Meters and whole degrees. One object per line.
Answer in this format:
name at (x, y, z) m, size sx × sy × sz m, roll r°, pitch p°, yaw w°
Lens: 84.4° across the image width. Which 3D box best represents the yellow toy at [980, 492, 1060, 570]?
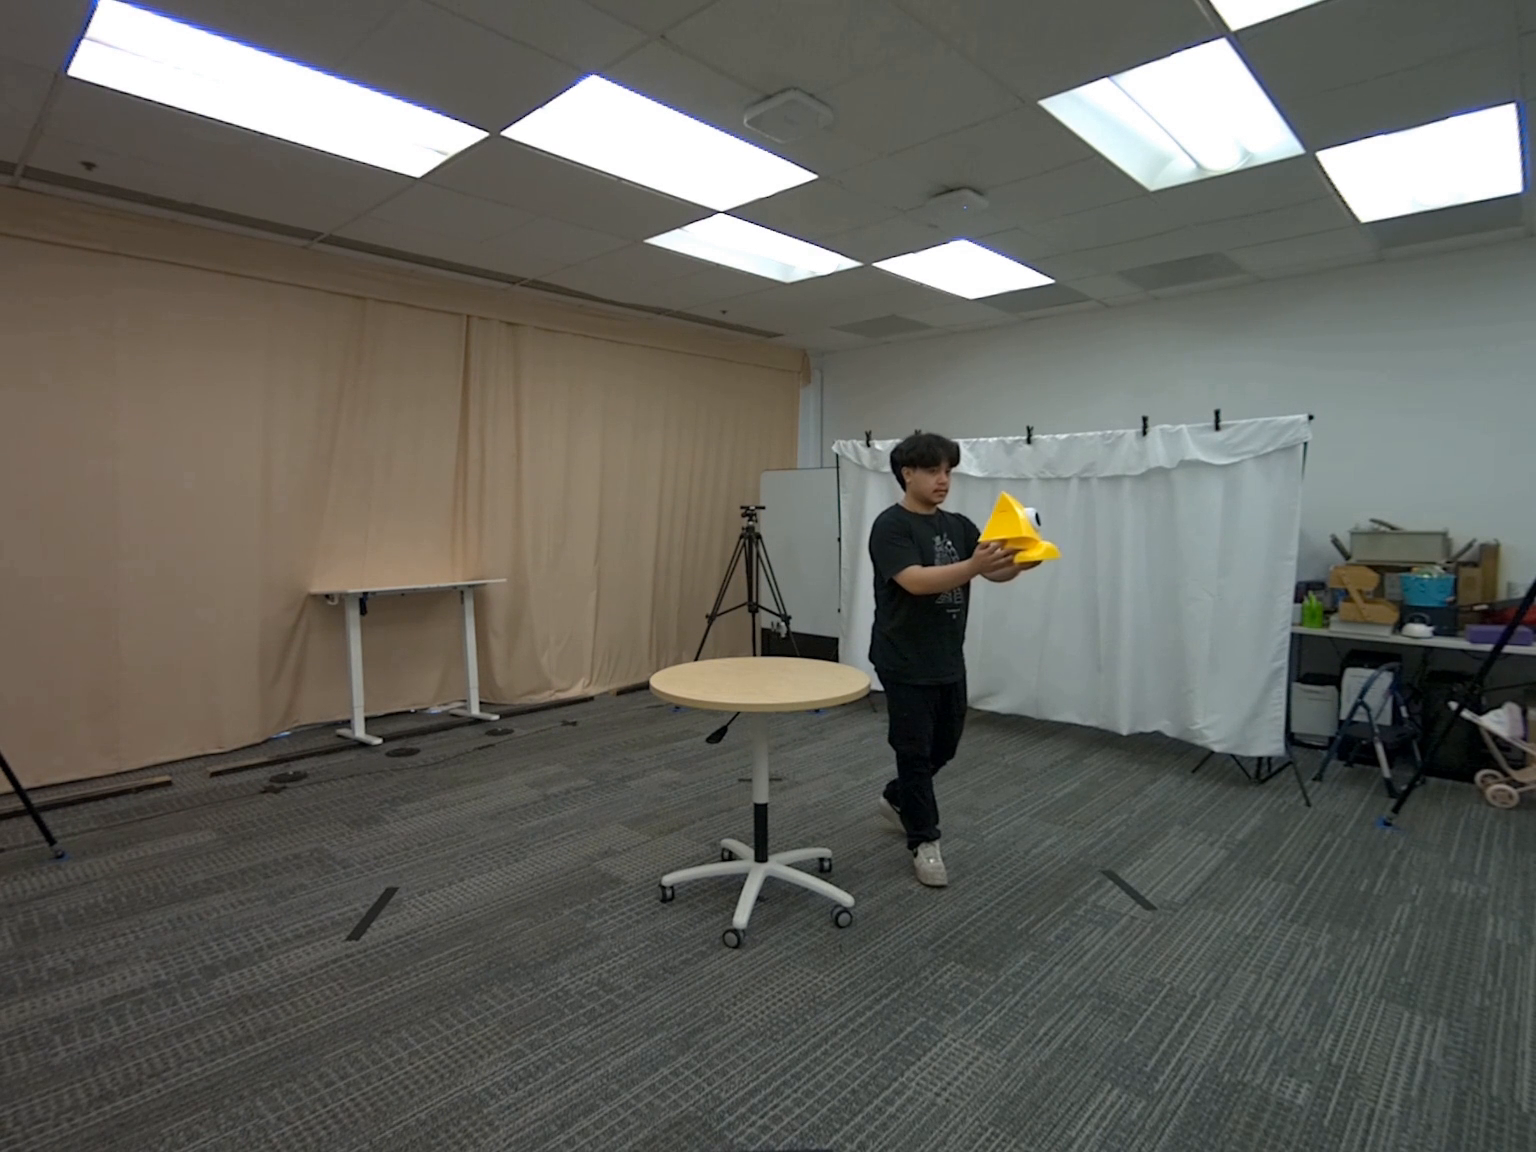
yellow toy at (0.816, -0.159, 2.731) m, size 0.188 × 0.231 × 0.209 m, roll -4°, pitch -1°, yaw -26°
